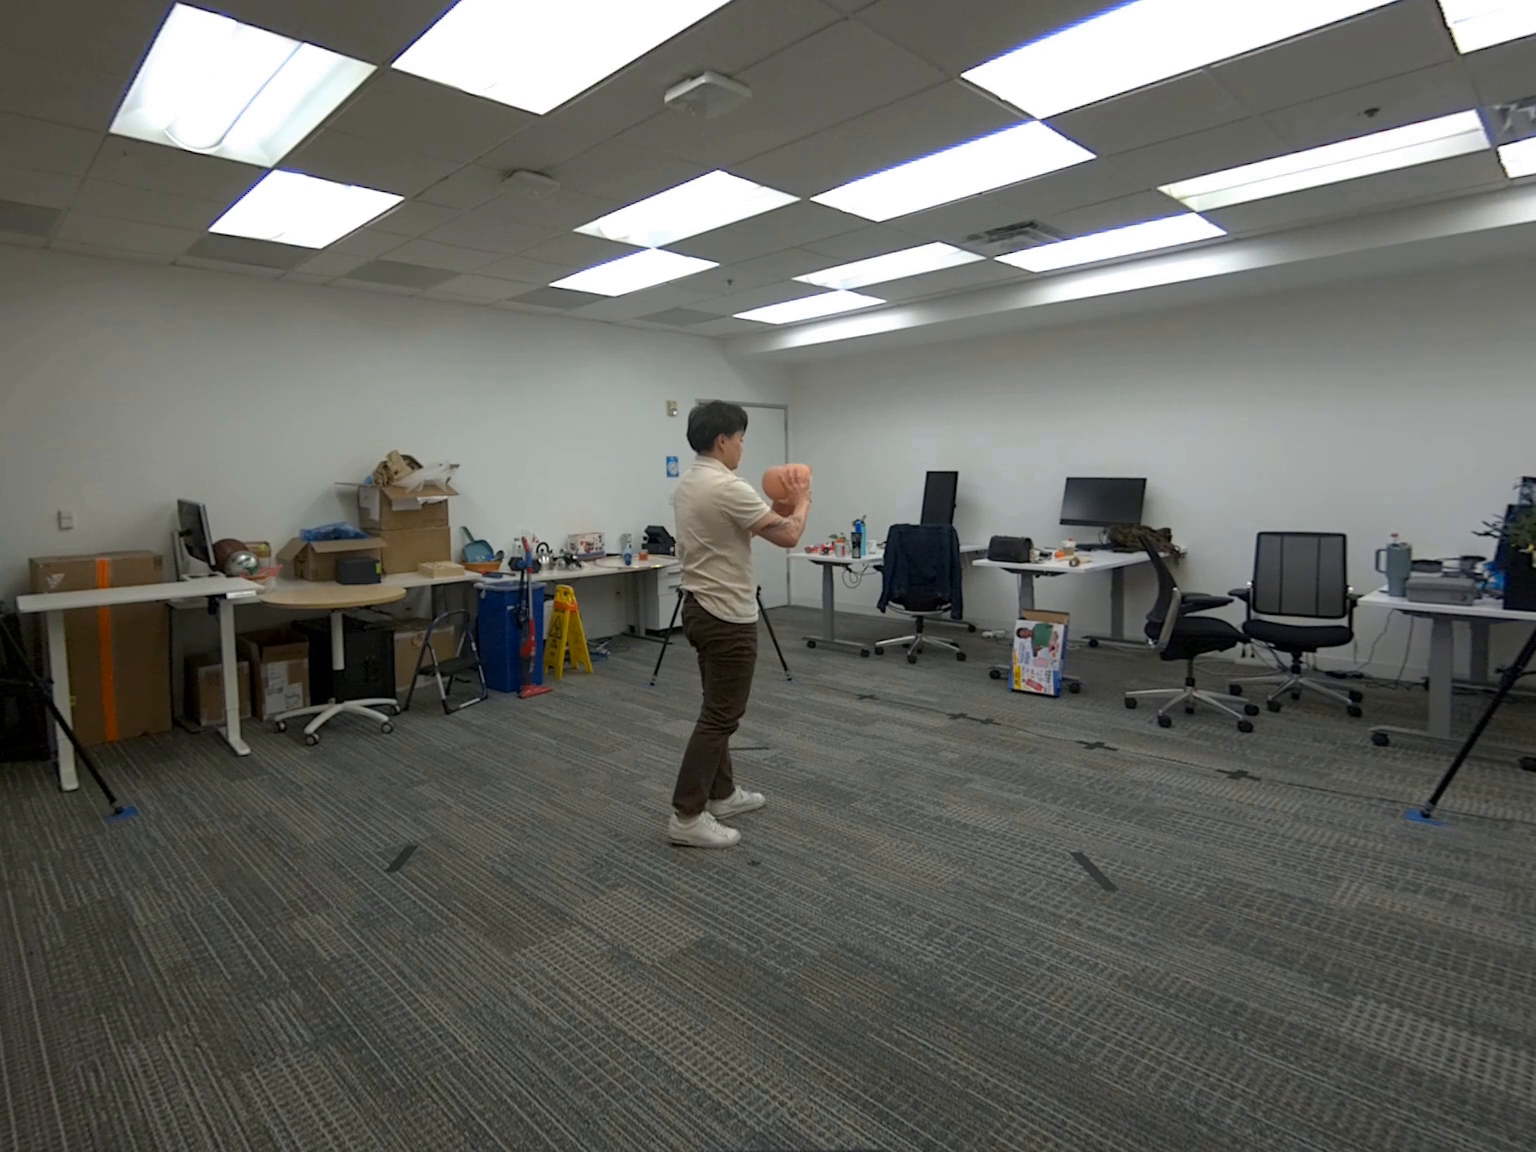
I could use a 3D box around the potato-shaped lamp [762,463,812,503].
[{"bbox_3d":[0.071,-0.374,3.487,0.199,0.174,0.161,10,-26,5],"label":"potato-shaped lamp"}]
